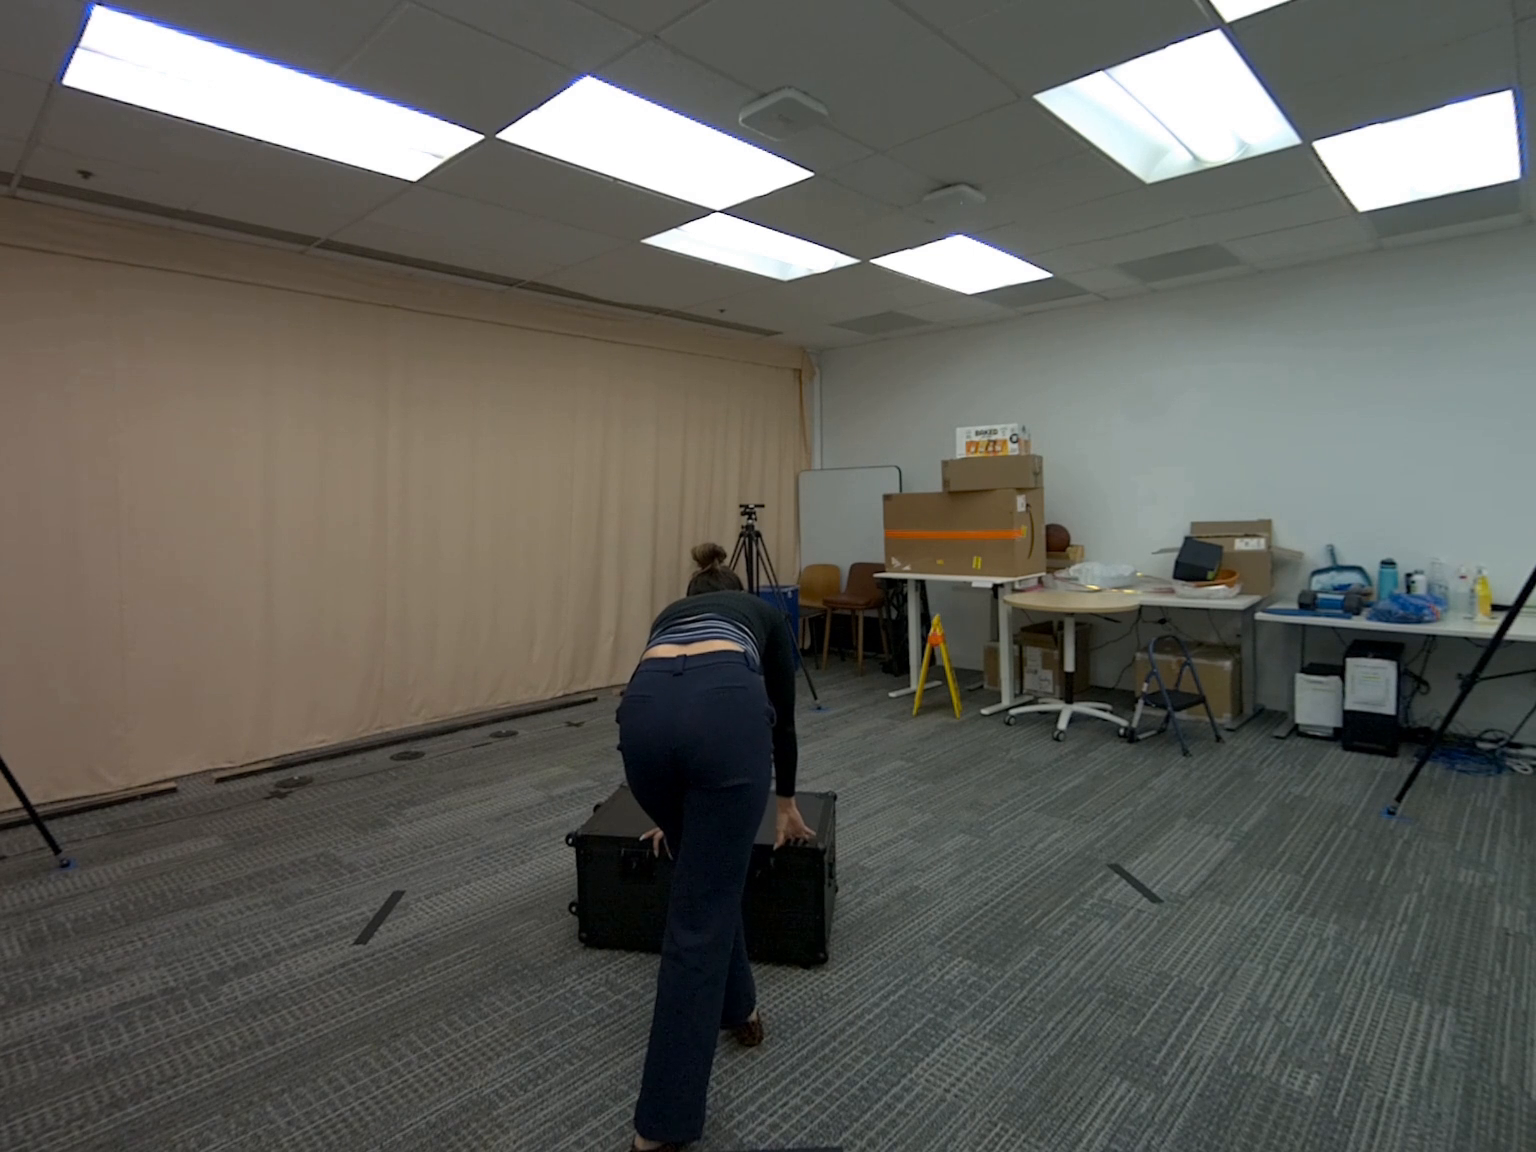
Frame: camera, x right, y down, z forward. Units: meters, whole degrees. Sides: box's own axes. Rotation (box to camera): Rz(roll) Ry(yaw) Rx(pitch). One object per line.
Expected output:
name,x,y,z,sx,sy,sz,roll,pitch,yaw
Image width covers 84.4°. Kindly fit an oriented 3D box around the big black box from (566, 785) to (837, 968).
big black box,-0.211,0.964,2.815,0.873,0.395,0.516,0,5,11
